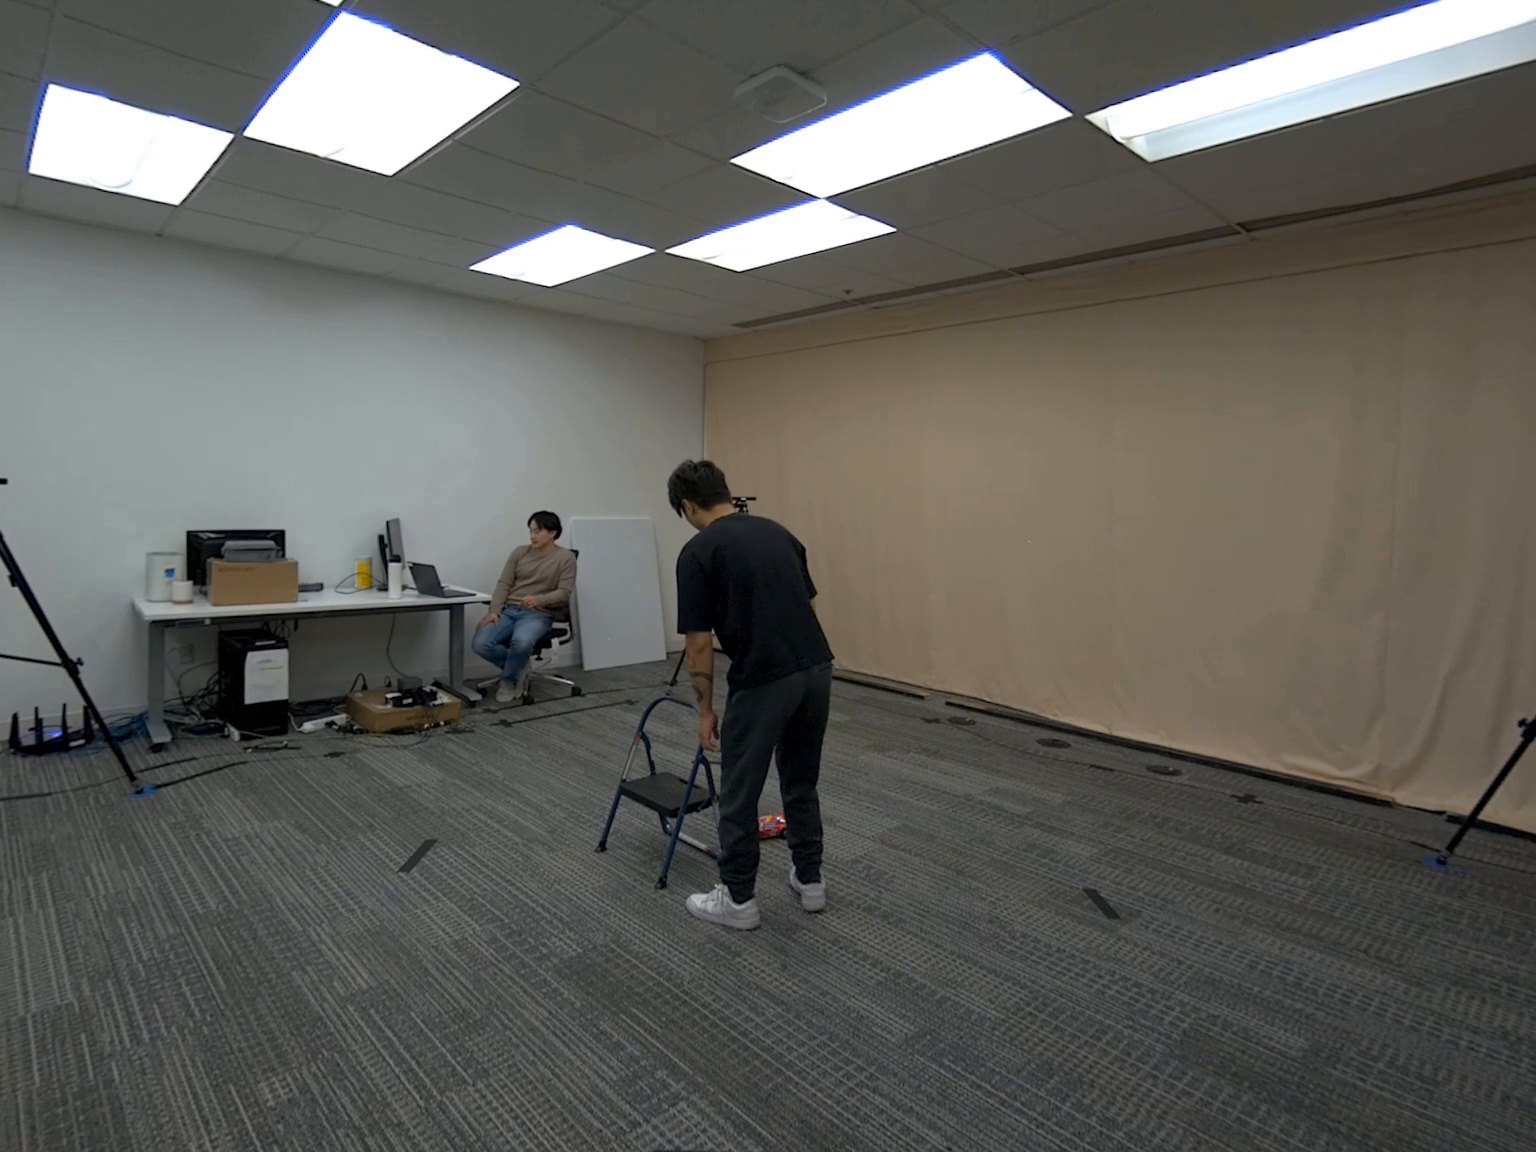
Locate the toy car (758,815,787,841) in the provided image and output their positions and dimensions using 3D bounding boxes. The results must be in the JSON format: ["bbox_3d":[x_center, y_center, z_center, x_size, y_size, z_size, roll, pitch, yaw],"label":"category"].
[{"bbox_3d":[0.004,1.047,3.488,0.252,0.083,0.132,-14,8,-19],"label":"toy car"}]
